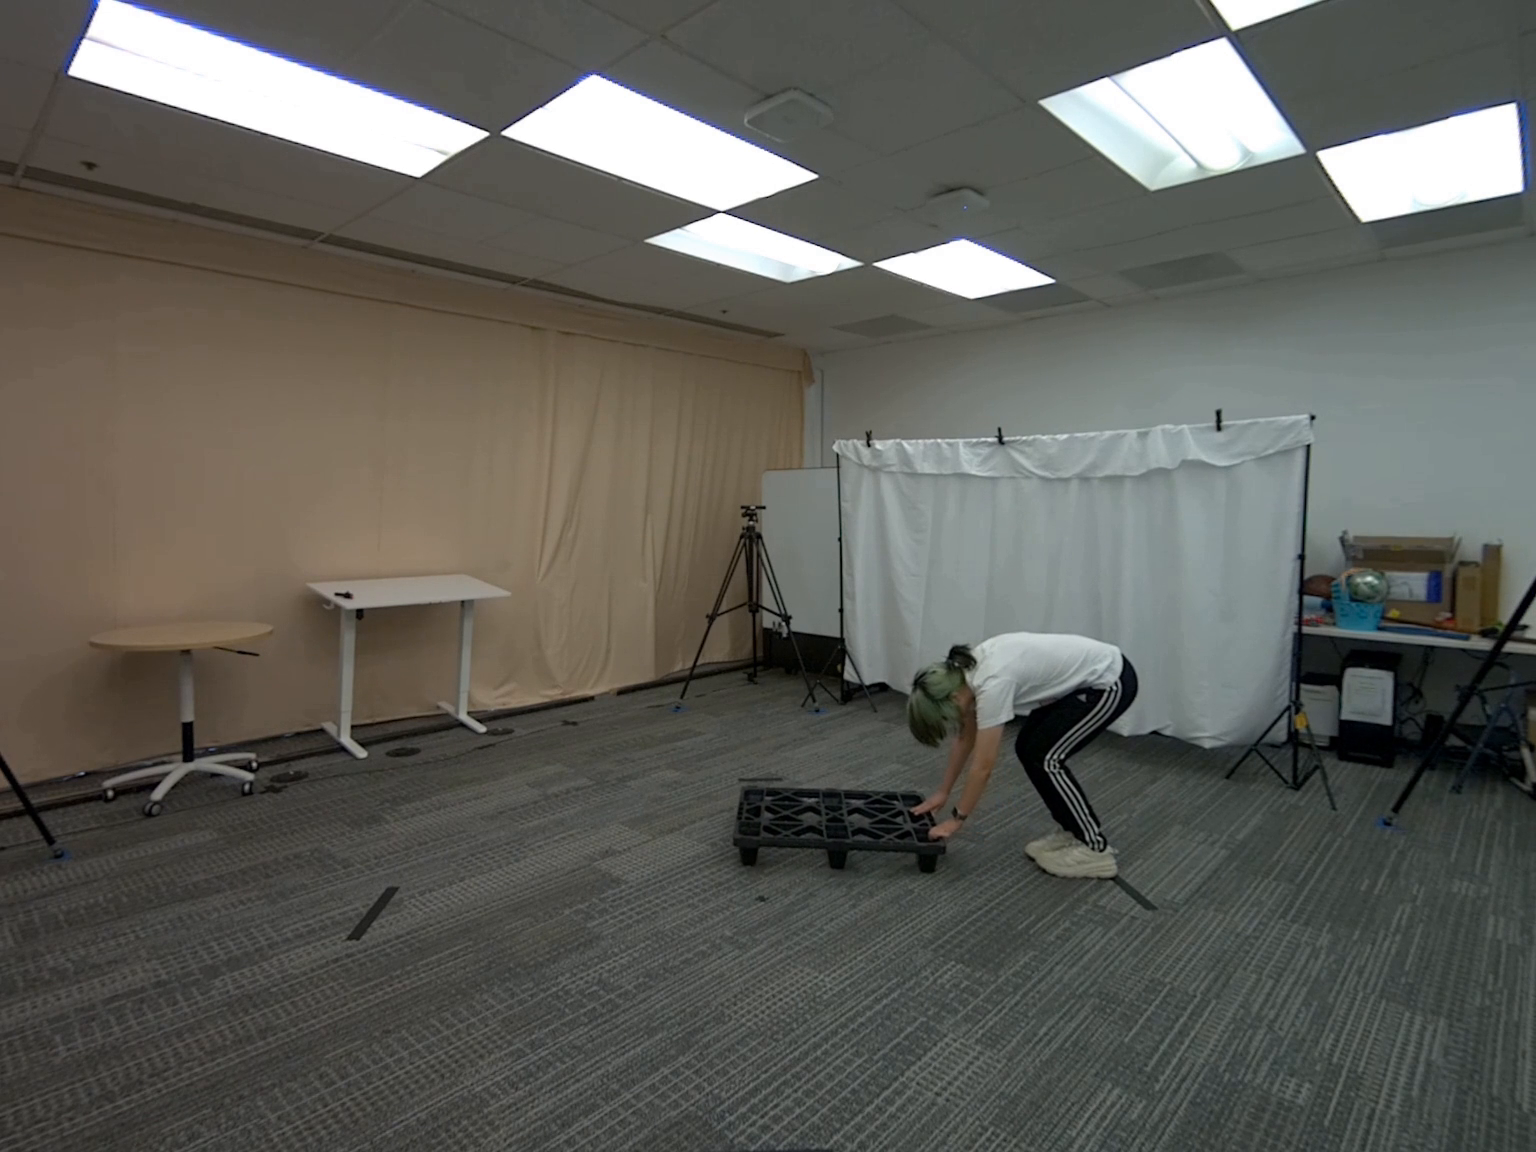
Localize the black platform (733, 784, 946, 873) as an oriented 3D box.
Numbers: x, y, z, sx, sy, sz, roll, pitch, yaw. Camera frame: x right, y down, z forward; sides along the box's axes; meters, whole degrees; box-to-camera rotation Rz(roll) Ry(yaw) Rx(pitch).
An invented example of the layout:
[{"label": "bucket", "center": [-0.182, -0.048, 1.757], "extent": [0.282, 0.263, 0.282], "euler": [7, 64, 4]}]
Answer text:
[{"label": "black platform", "center": [0.273, 1.037, 3.456], "extent": [0.810, 0.143, 0.603], "euler": [1, 3, 4]}]
